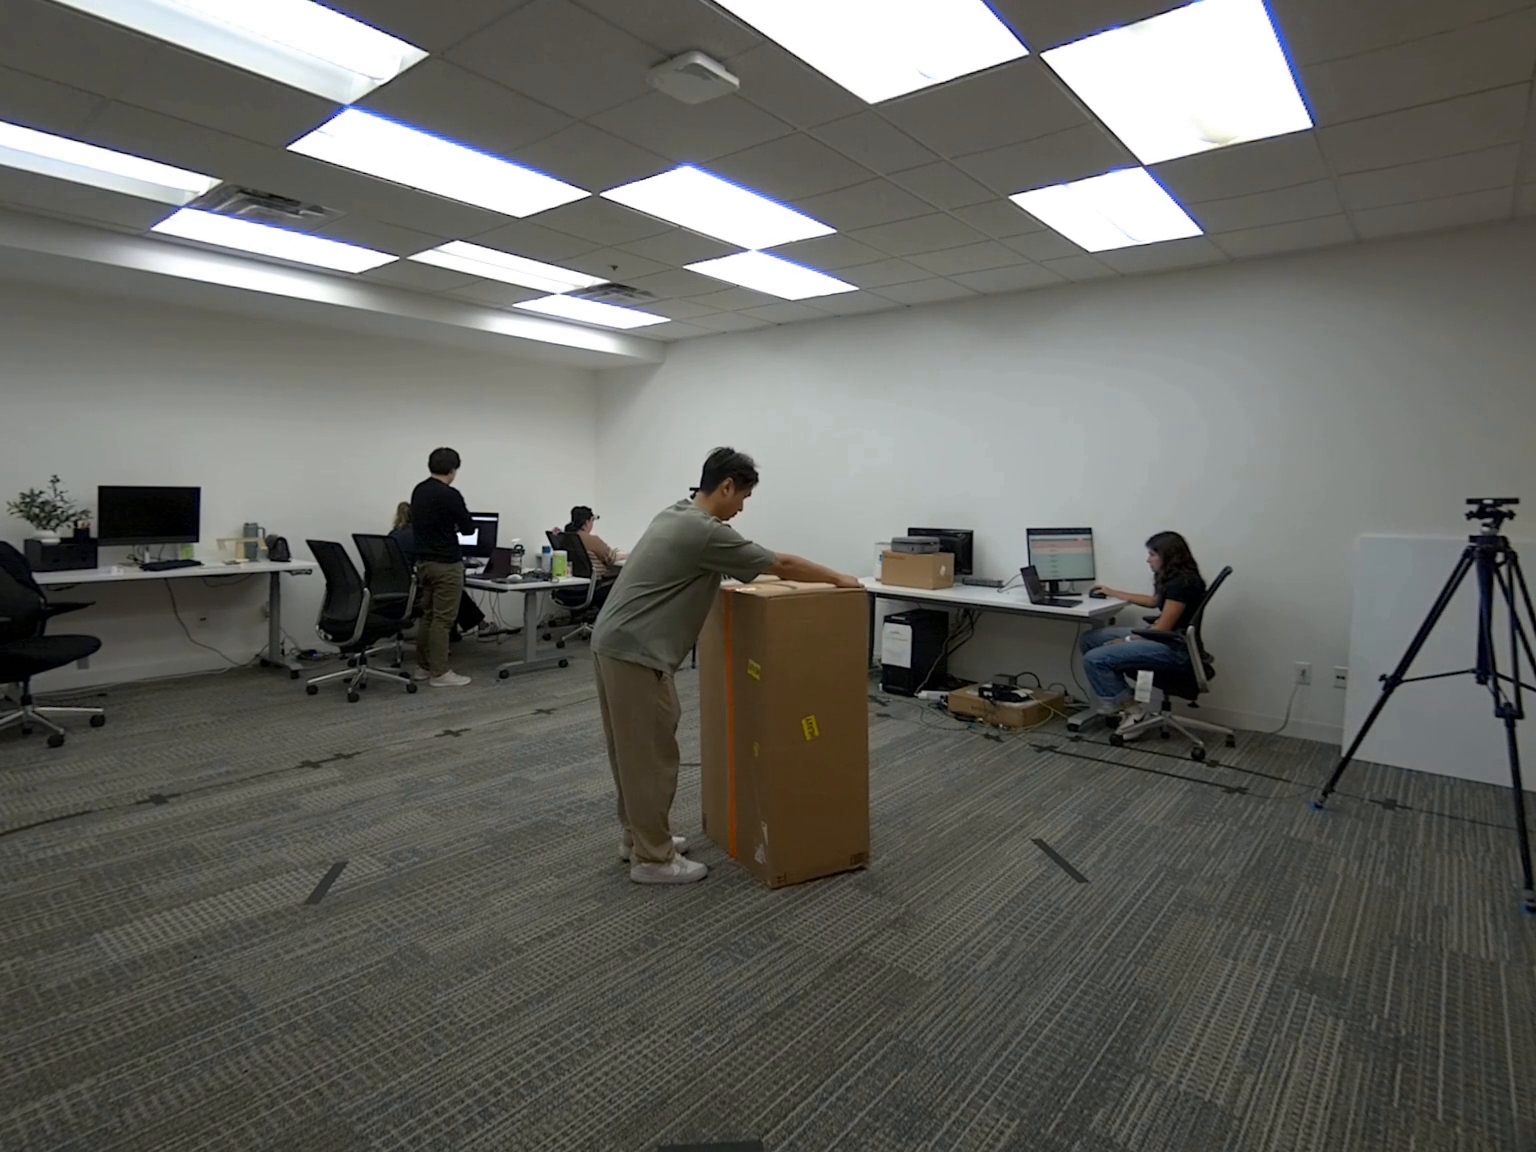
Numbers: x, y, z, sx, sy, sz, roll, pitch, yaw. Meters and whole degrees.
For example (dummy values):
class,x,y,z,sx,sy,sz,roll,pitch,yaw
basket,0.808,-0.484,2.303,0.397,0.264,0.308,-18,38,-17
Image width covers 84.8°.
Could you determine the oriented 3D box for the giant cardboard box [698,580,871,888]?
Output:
class,x,y,z,sx,sy,sz,roll,pitch,yaw
giant cardboard box,0.035,0.541,3.267,0.416,1.023,0.594,-2,4,-28
